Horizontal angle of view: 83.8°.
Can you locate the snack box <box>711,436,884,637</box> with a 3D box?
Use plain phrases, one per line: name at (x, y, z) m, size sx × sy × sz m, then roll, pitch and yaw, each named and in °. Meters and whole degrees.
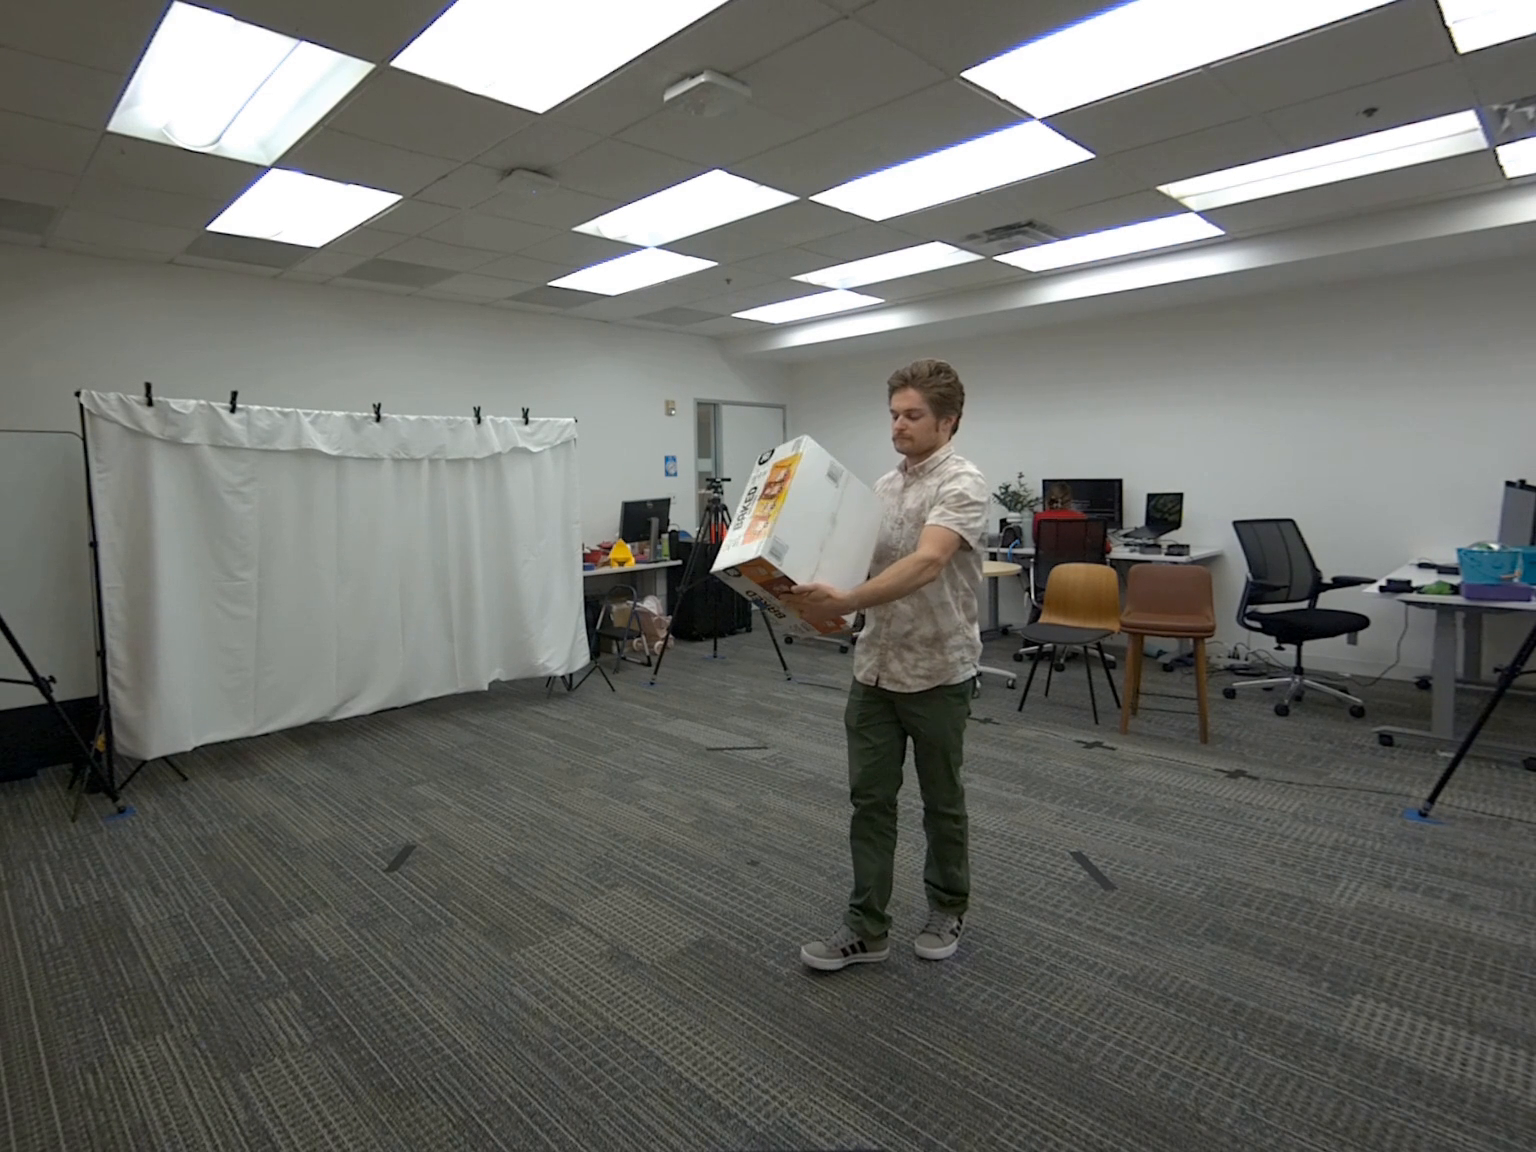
snack box at (0.088, -0.103, 2.293) m, size 0.330 × 0.410 × 0.209 m, roll 37°, pitch -33°, yaw -25°
